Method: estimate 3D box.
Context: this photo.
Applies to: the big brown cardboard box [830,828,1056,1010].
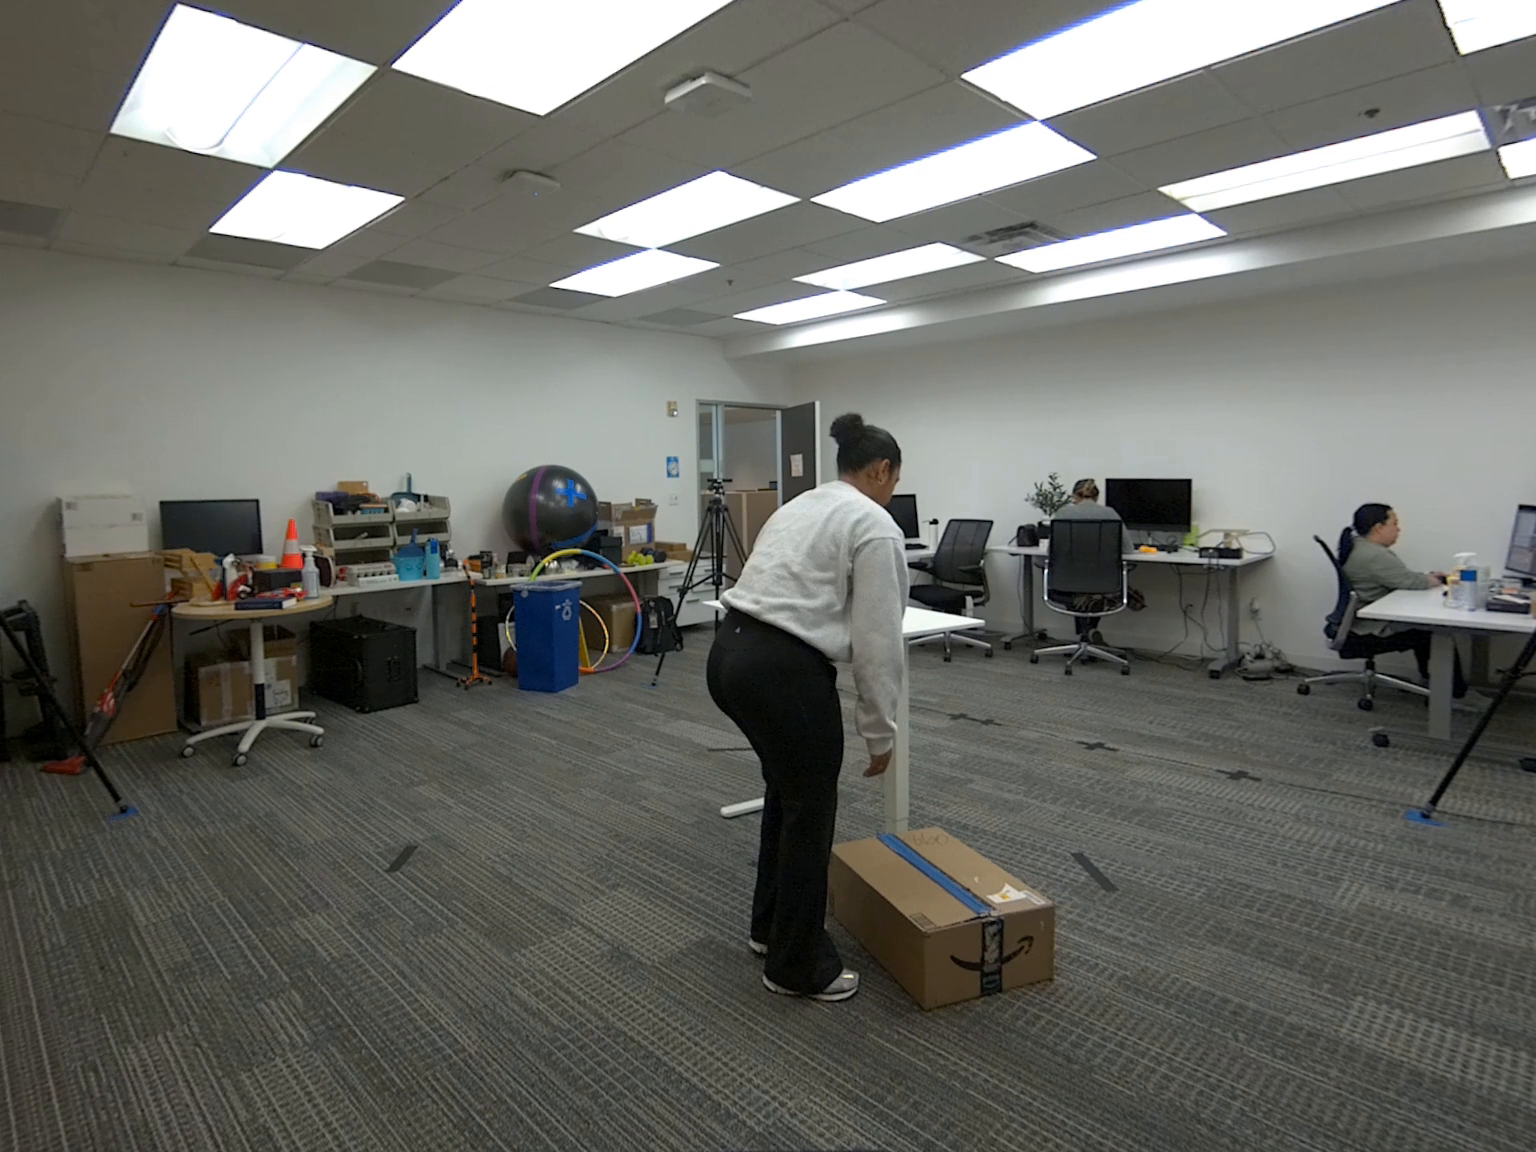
[{"bbox_3d":[0.498,0.991,2.548,0.410,0.232,0.602,-3,6,-22],"label":"big brown cardboard box"}]
